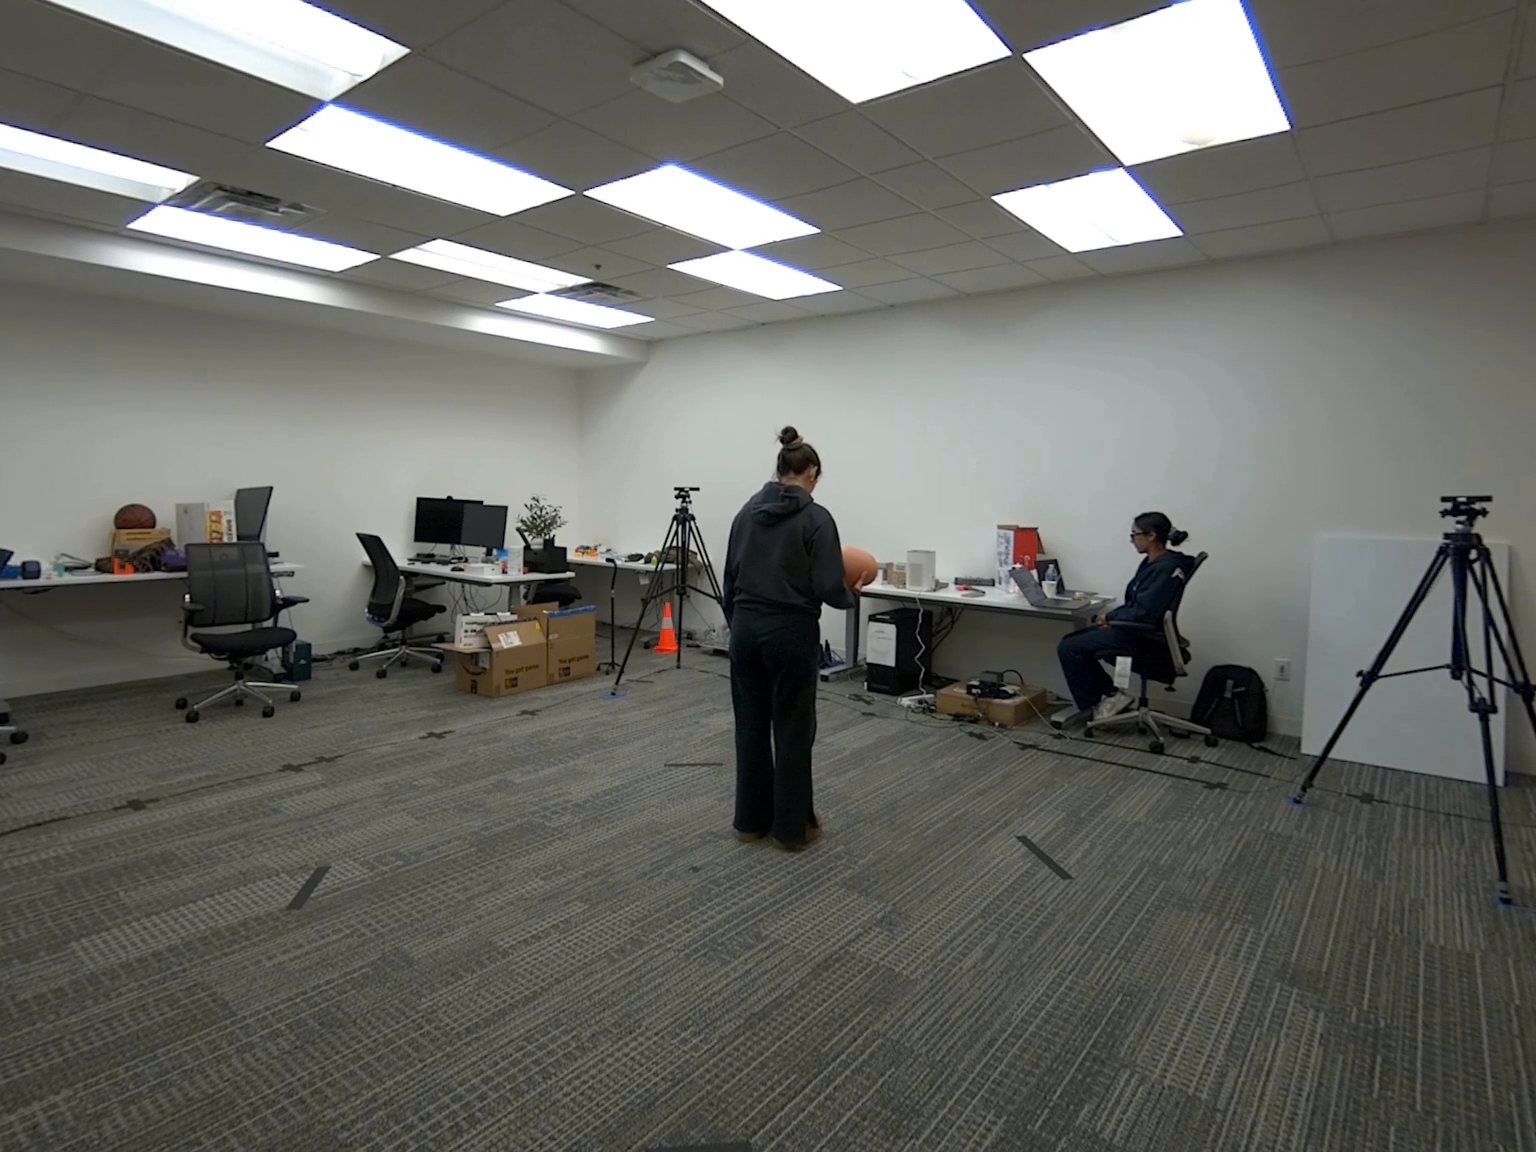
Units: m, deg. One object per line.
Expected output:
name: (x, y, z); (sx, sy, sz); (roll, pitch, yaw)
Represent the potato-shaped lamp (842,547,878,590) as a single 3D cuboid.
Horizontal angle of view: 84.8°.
potato-shaped lamp: (0.348, -0.034, 3.481); (0.194, 0.169, 0.169); (15, 43, -15)
